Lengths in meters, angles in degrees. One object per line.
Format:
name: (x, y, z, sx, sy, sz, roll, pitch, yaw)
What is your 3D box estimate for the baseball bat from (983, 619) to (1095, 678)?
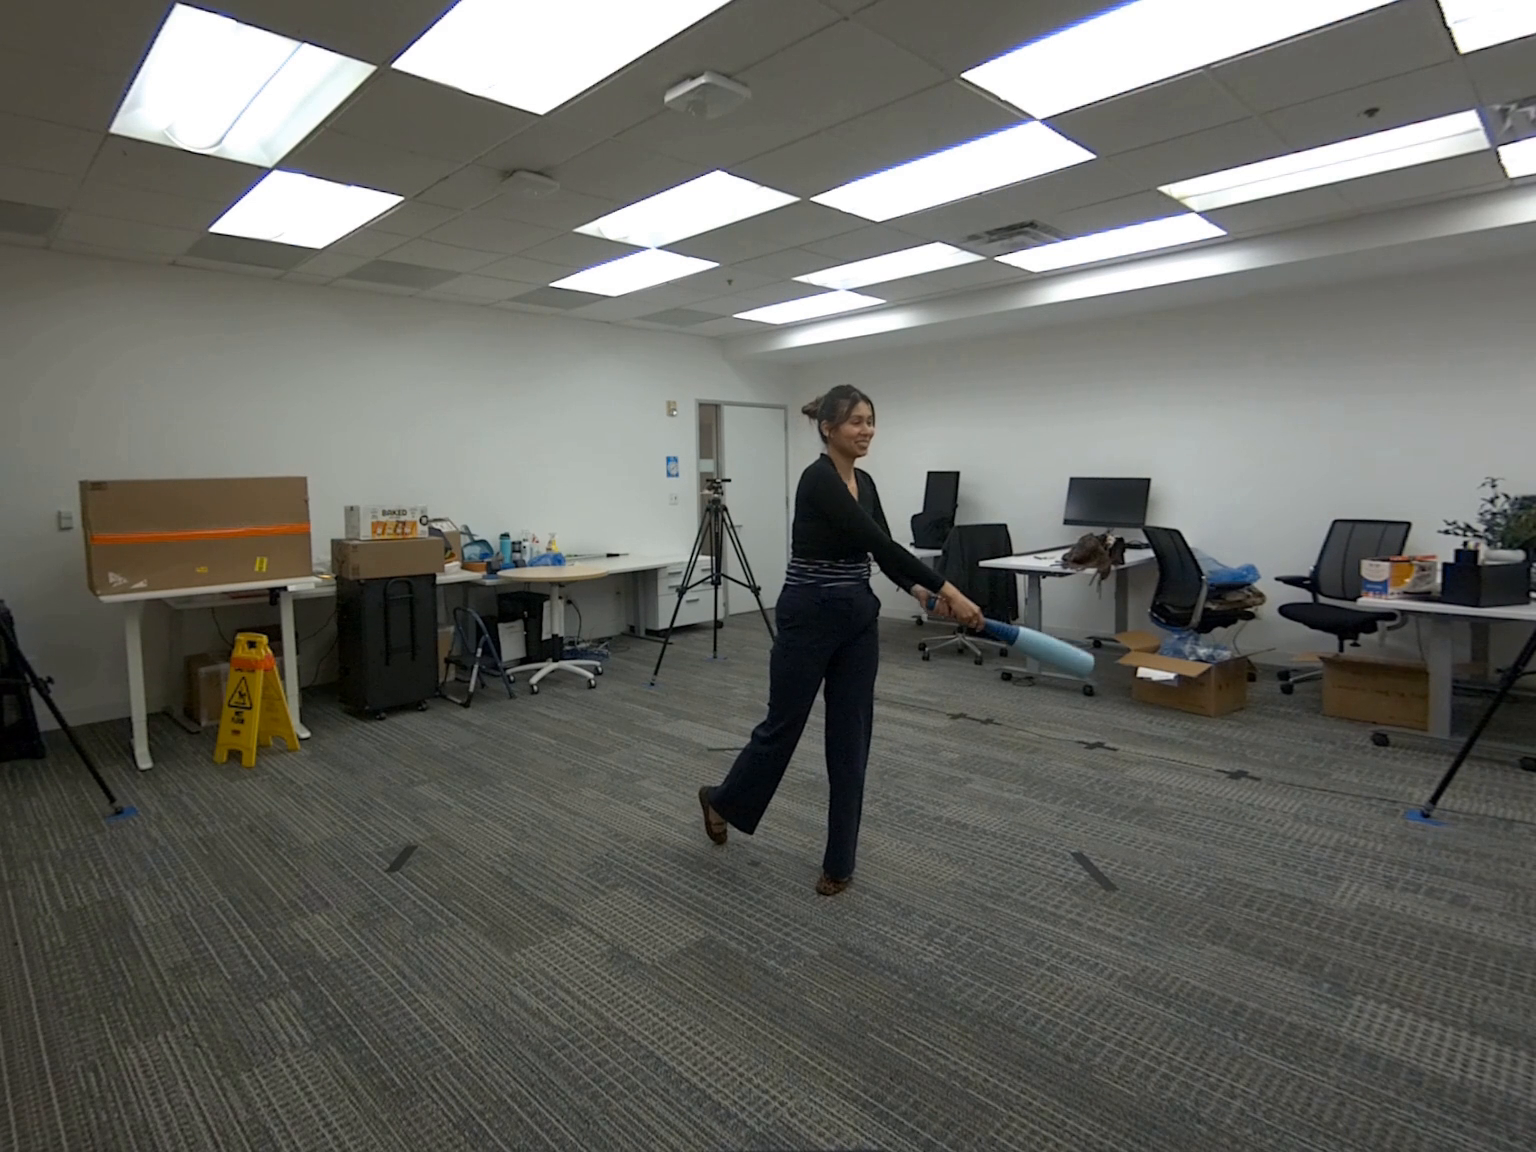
baseball bat: (0.754, 0.173, 2.684, 0.547, 0.089, 0.089, 23, 7, 5)
